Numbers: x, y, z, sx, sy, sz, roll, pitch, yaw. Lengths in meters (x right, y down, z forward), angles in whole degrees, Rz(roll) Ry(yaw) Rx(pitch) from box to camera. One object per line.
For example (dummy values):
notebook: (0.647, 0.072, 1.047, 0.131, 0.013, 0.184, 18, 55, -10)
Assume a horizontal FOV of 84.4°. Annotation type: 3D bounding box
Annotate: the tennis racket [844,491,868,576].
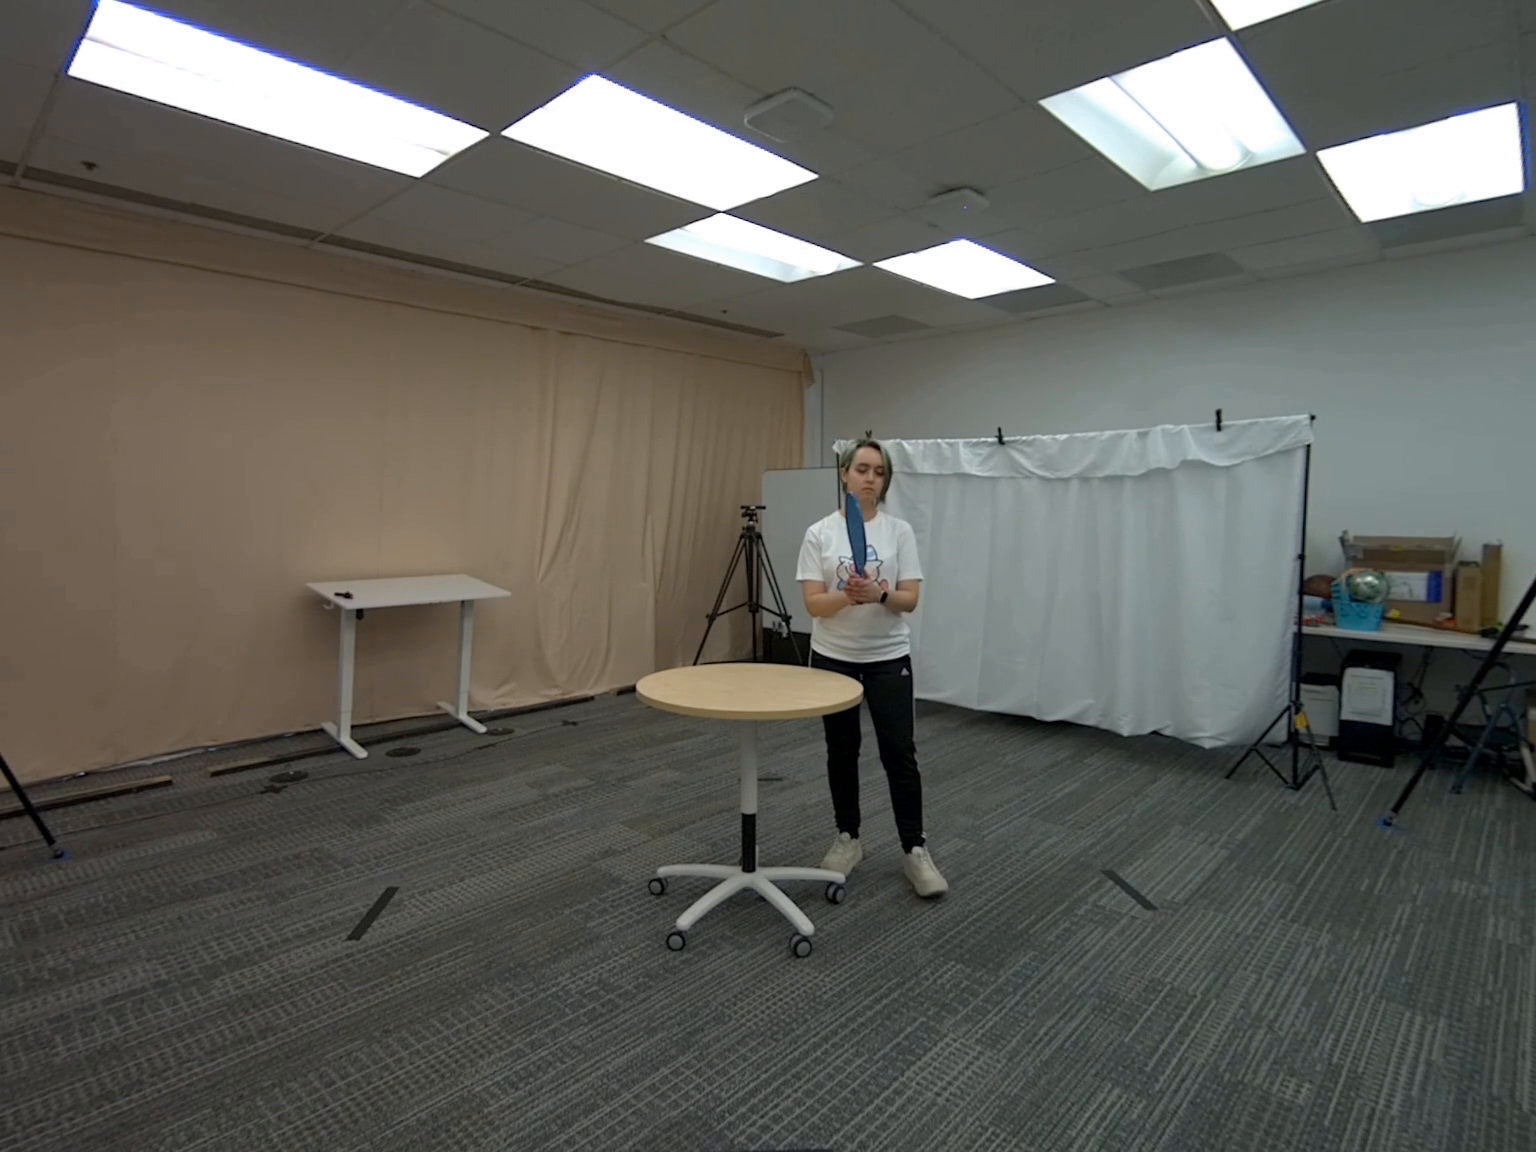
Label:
tennis racket: (0.303, -0.093, 2.801, 0.032, 0.423, 0.219, -10, 42, -2)
